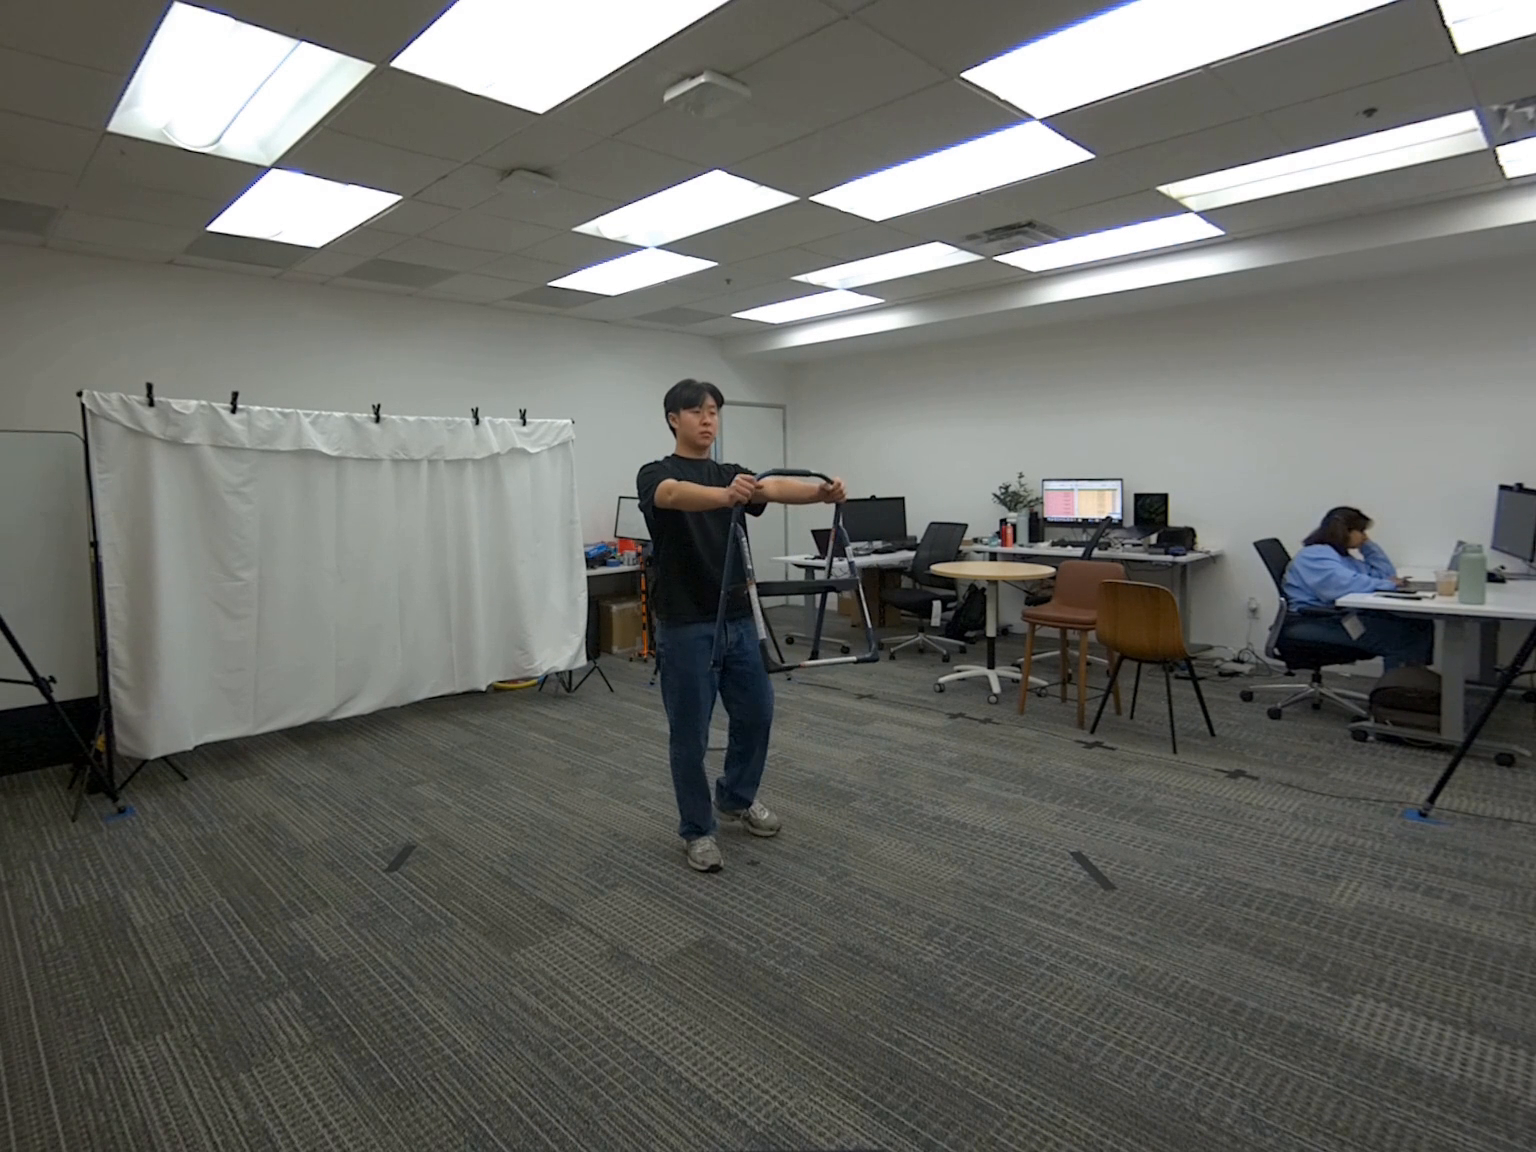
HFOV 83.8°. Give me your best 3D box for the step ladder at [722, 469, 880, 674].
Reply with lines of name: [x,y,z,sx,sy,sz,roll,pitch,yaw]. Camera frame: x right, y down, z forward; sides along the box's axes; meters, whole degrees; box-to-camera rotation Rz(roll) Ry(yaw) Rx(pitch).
step ladder: [0.067,-0.021,2.672,0.420,0.608,0.357,-2,-3,-33]
